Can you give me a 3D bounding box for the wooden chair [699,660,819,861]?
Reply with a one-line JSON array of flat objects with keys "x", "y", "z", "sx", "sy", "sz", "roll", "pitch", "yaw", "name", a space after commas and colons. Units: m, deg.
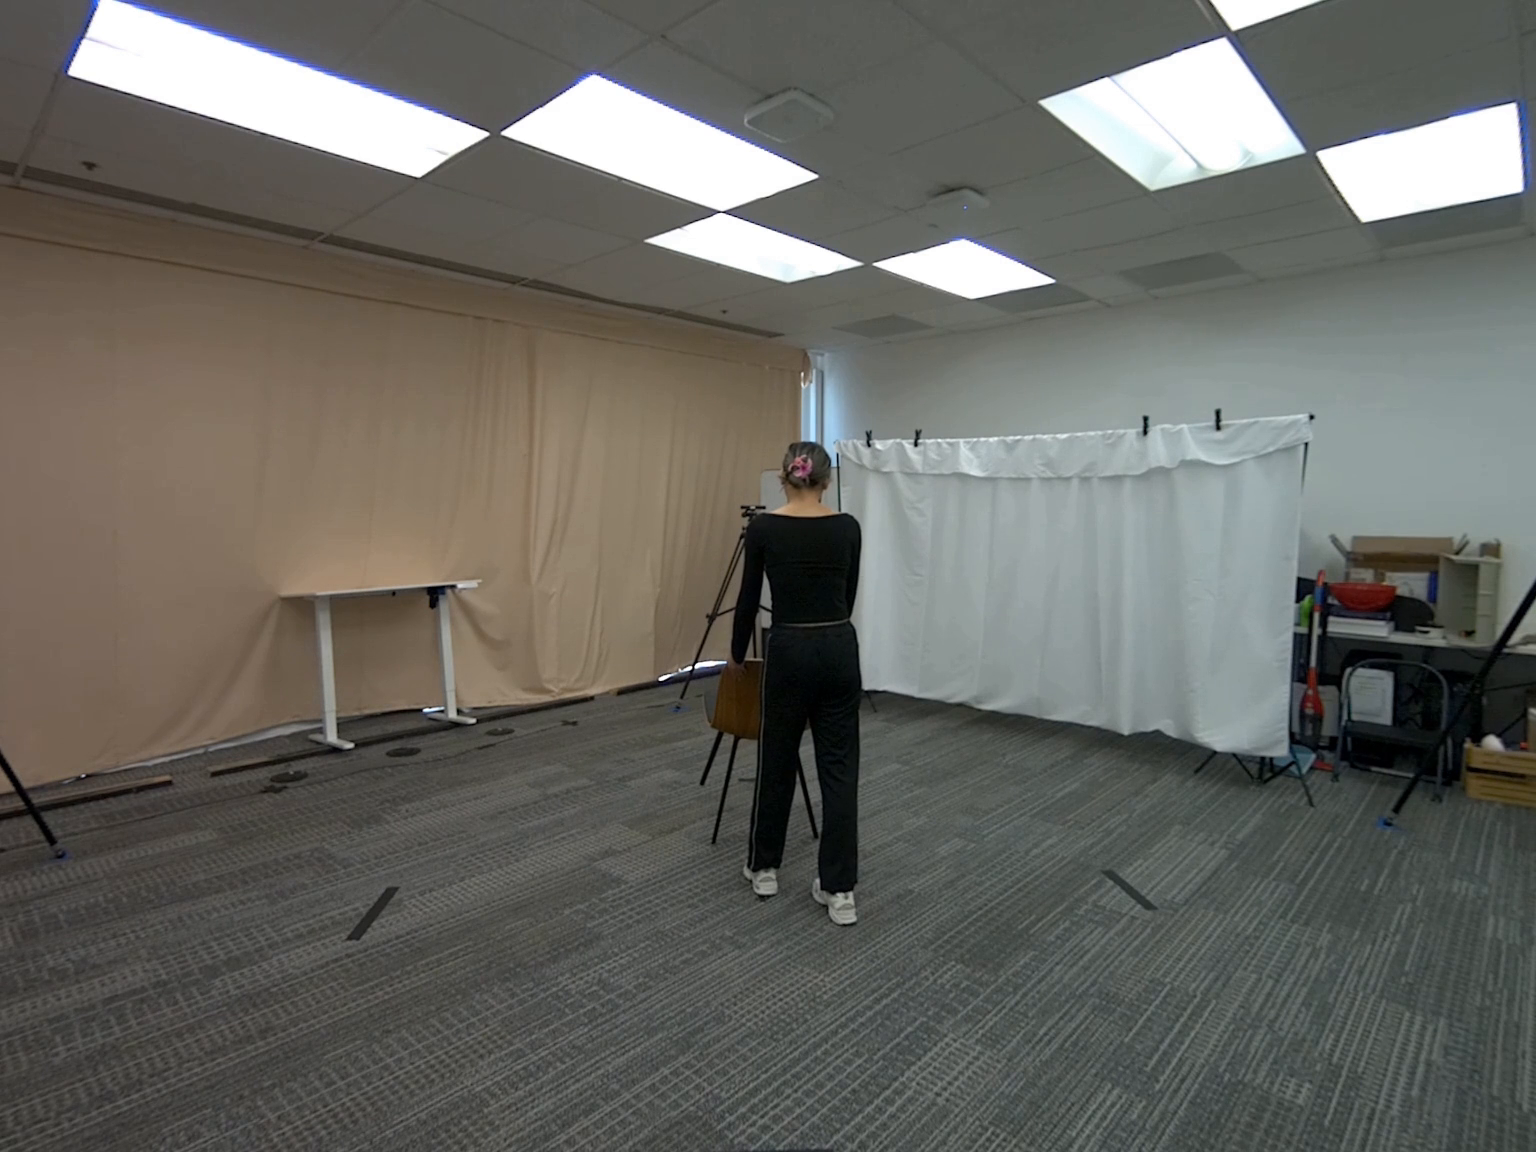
[{"x": -0.037, "y": 0.622, "z": 3.587, "sx": 0.473, "sy": 0.867, "sz": 0.534, "roll": -1, "pitch": 21, "yaw": -10, "name": "wooden chair"}]
